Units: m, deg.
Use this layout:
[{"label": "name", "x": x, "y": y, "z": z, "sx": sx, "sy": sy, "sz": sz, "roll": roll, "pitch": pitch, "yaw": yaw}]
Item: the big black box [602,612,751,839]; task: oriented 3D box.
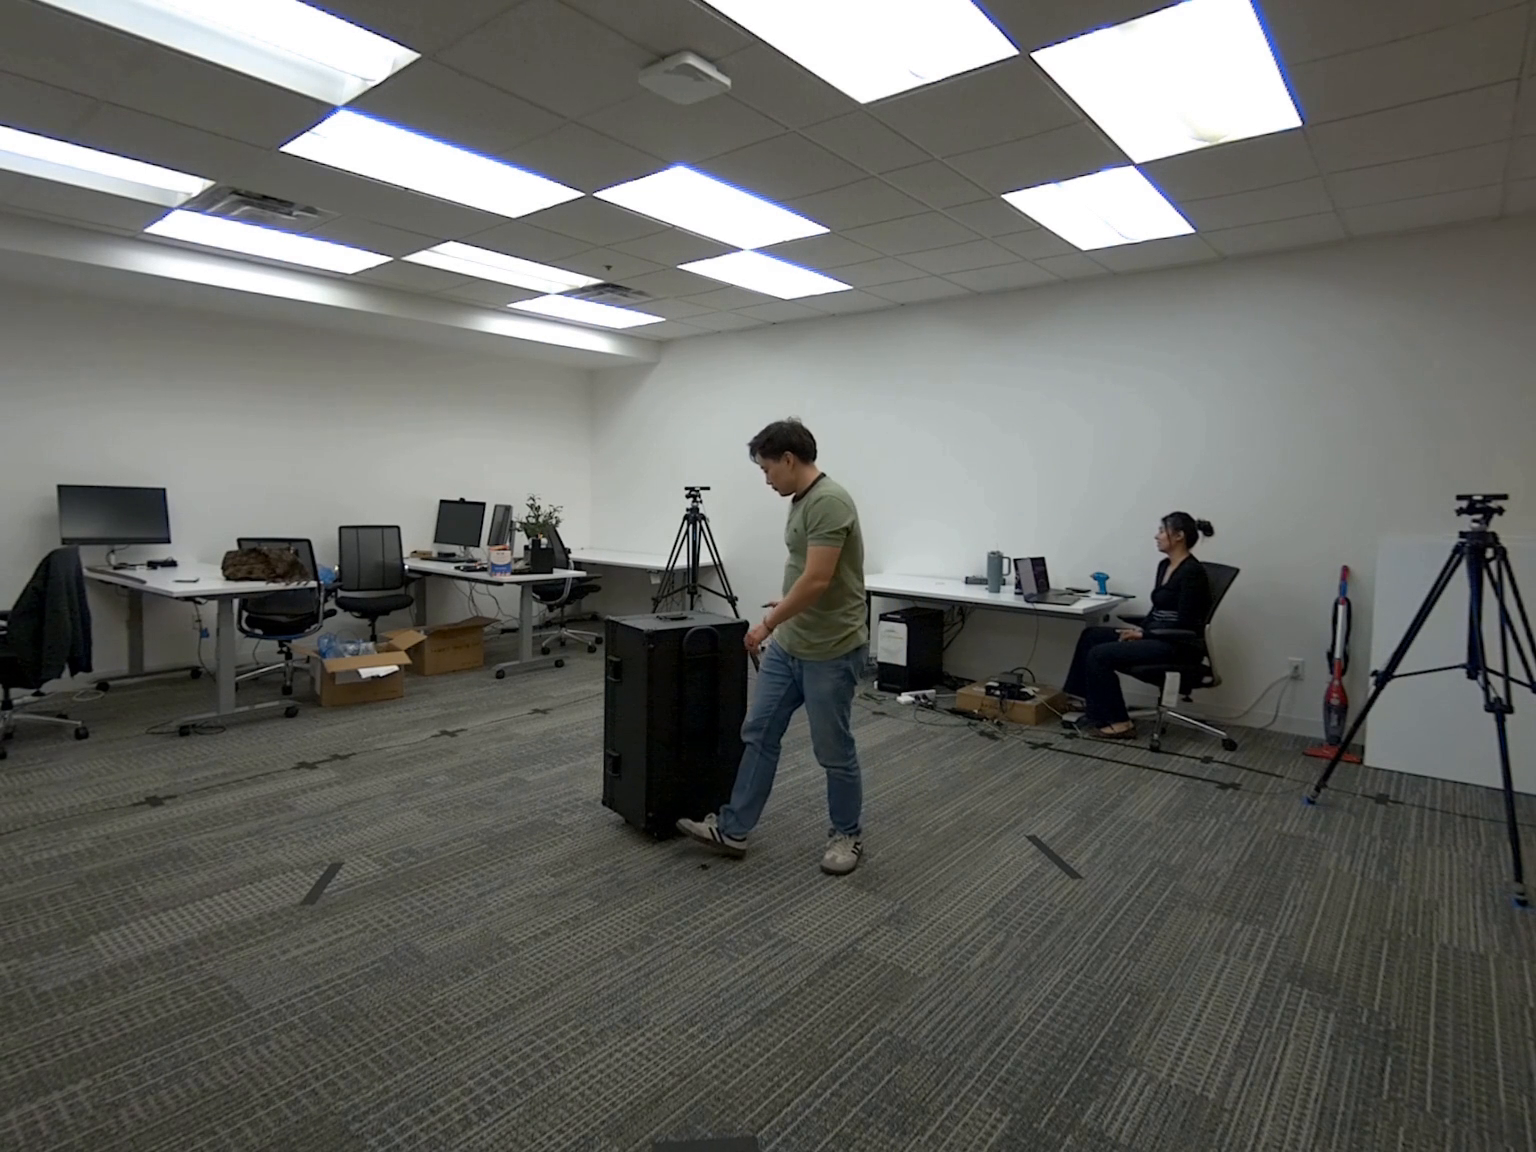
[{"label": "big black box", "x": -0.385, "y": 0.598, "z": 3.500, "sx": 0.506, "sy": 0.858, "sz": 0.409, "roll": -2, "pitch": 5, "yaw": -36}]
